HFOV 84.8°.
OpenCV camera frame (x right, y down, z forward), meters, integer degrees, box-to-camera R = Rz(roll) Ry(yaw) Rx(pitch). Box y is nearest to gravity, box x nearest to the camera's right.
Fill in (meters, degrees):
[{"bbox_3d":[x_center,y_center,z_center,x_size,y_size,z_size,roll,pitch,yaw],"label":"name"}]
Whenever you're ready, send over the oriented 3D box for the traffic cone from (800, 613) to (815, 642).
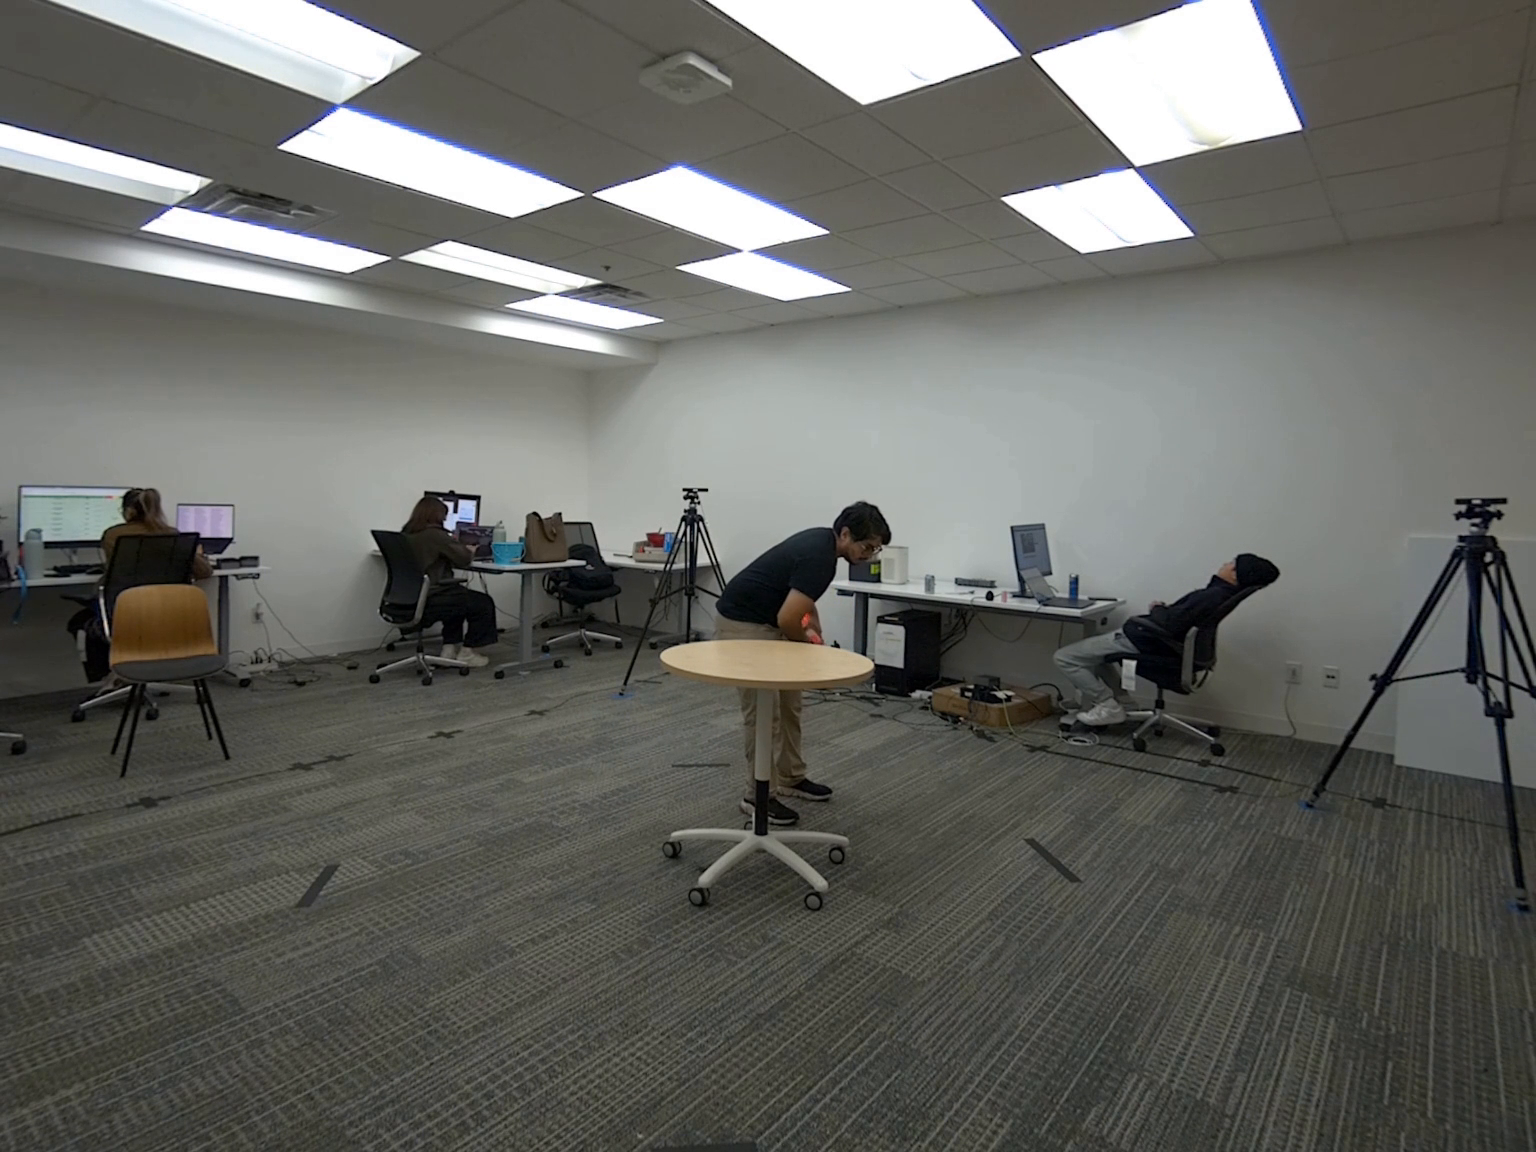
[{"bbox_3d":[0.163,0.287,3.924,0.199,0.202,0.396,1,17,-21],"label":"traffic cone"}]
